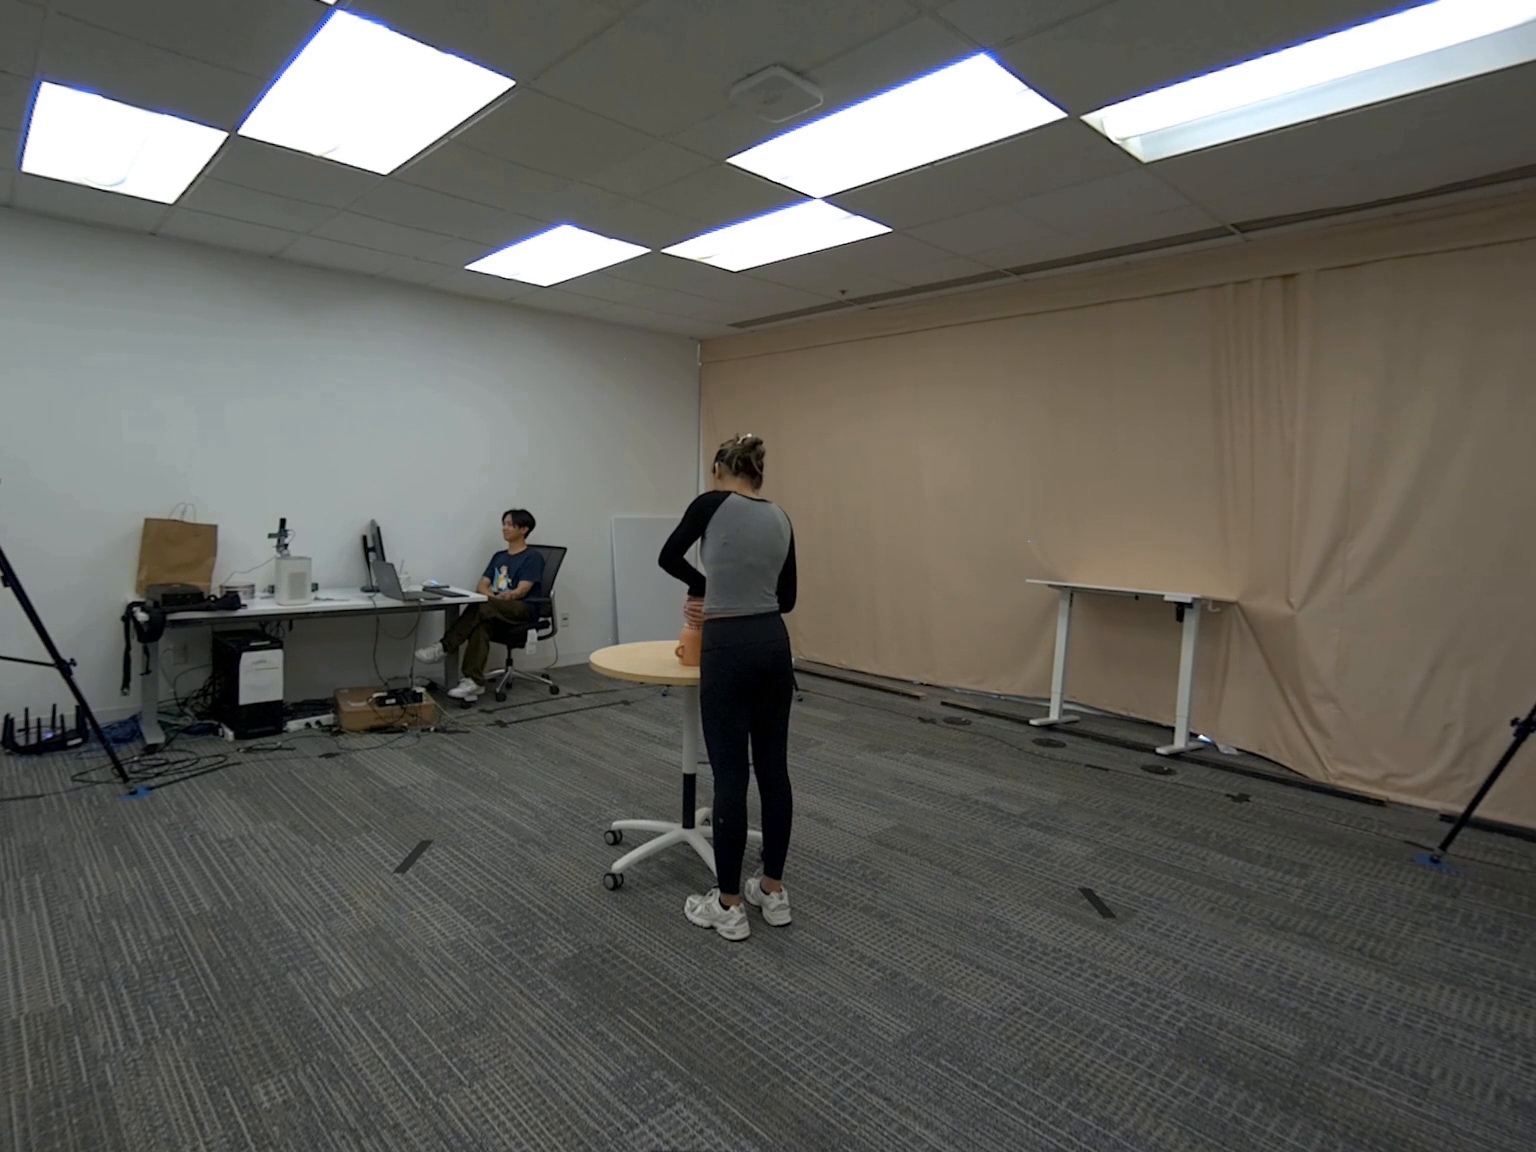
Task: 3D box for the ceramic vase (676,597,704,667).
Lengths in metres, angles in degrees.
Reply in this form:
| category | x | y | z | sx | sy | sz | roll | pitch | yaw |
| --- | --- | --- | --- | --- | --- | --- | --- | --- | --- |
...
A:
| category | x | y | z | sx | sy | sz | roll | pitch | yaw |
| --- | --- | --- | --- | --- | --- | --- | --- | --- | --- |
| ceramic vase | -0.258 | 0.207 | 3.041 | 0.135 | 0.219 | 0.158 | 2 | 1 | 7 |
